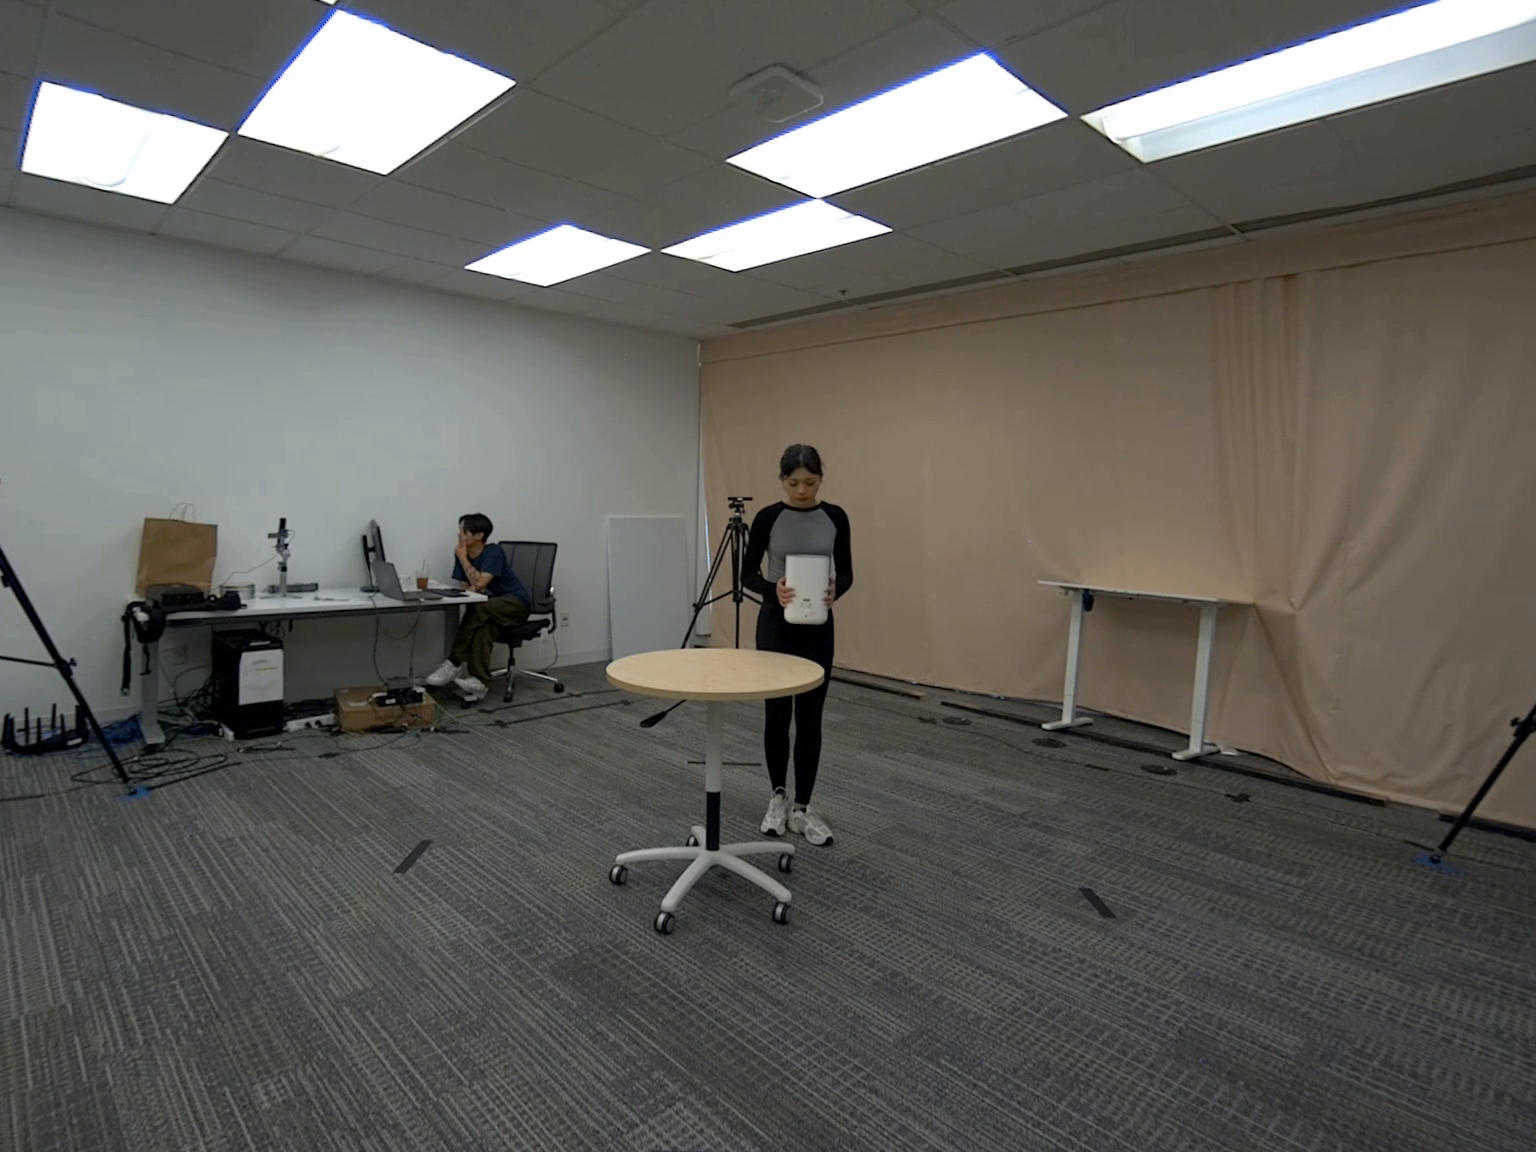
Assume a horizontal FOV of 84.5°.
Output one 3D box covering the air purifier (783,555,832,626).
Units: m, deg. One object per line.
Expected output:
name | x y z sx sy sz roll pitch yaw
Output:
air purifier | 0.144 0.052 3.327 0.171 0.265 0.171 1 2 1
